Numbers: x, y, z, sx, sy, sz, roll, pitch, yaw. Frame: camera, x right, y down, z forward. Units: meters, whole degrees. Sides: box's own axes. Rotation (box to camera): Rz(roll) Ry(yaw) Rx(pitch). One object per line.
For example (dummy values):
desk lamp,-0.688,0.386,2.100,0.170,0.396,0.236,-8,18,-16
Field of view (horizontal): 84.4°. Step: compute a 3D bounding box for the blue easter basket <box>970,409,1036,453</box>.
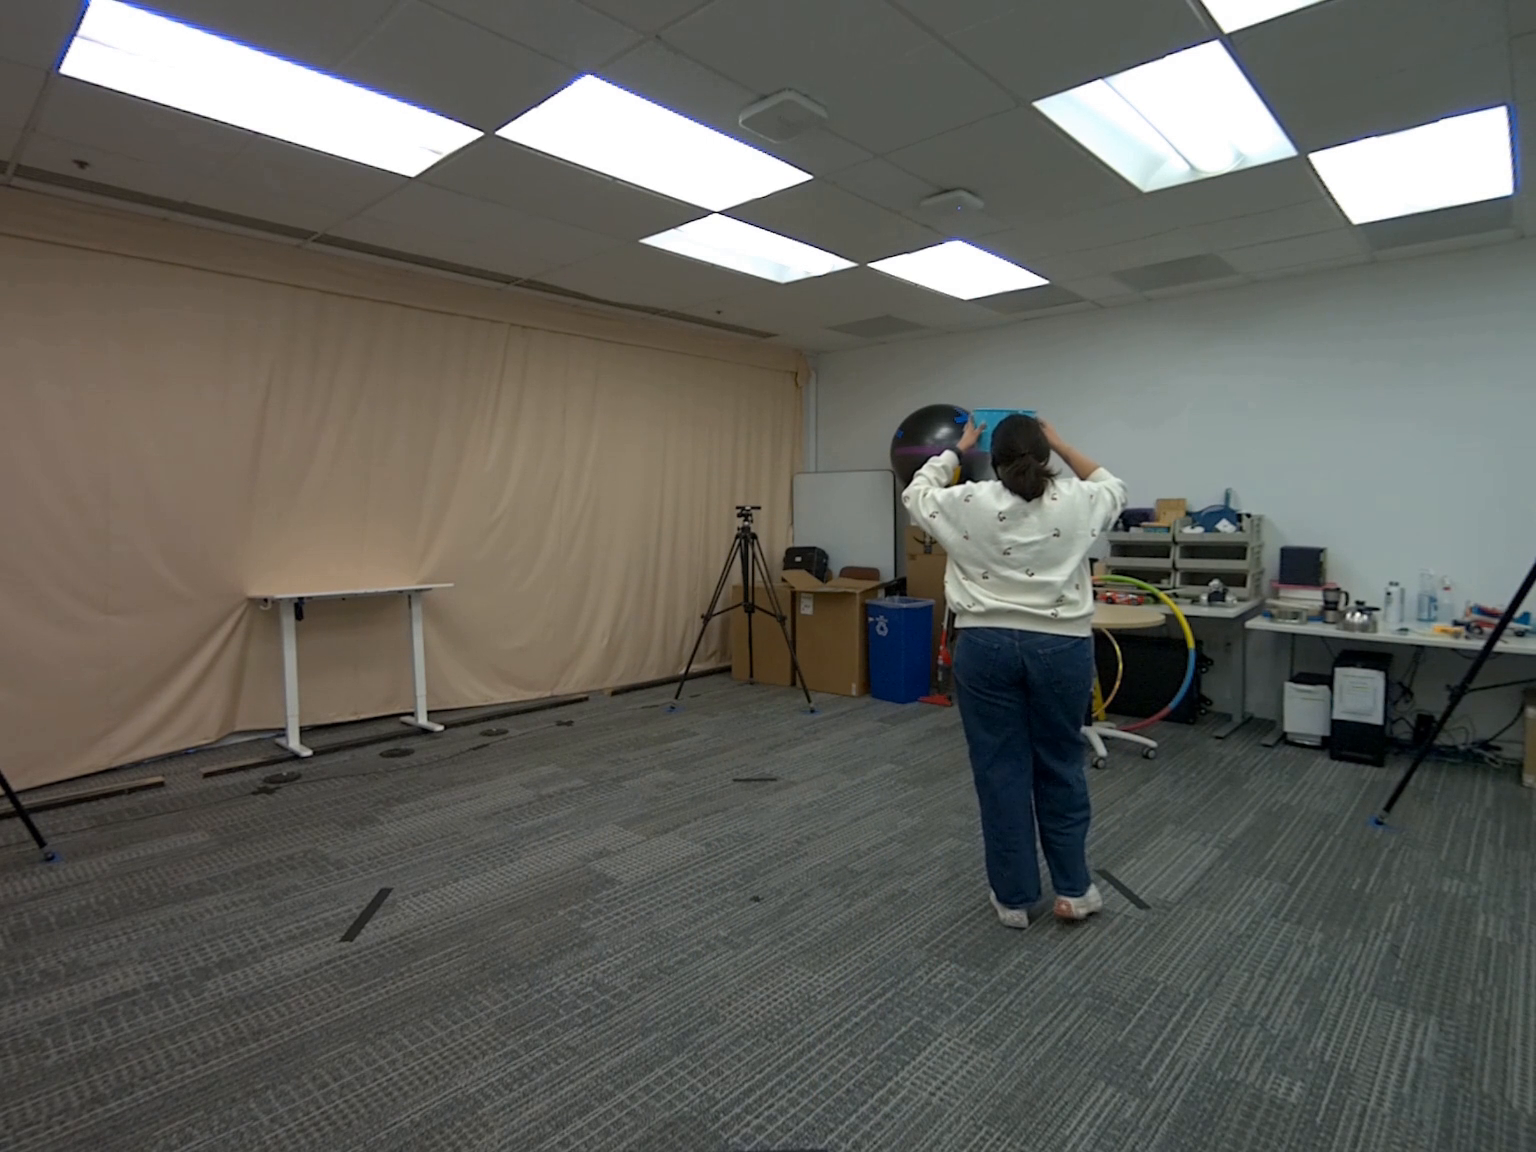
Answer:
blue easter basket,0.878,-0.536,3.076,0.243,0.155,0.245,-1,11,-2
